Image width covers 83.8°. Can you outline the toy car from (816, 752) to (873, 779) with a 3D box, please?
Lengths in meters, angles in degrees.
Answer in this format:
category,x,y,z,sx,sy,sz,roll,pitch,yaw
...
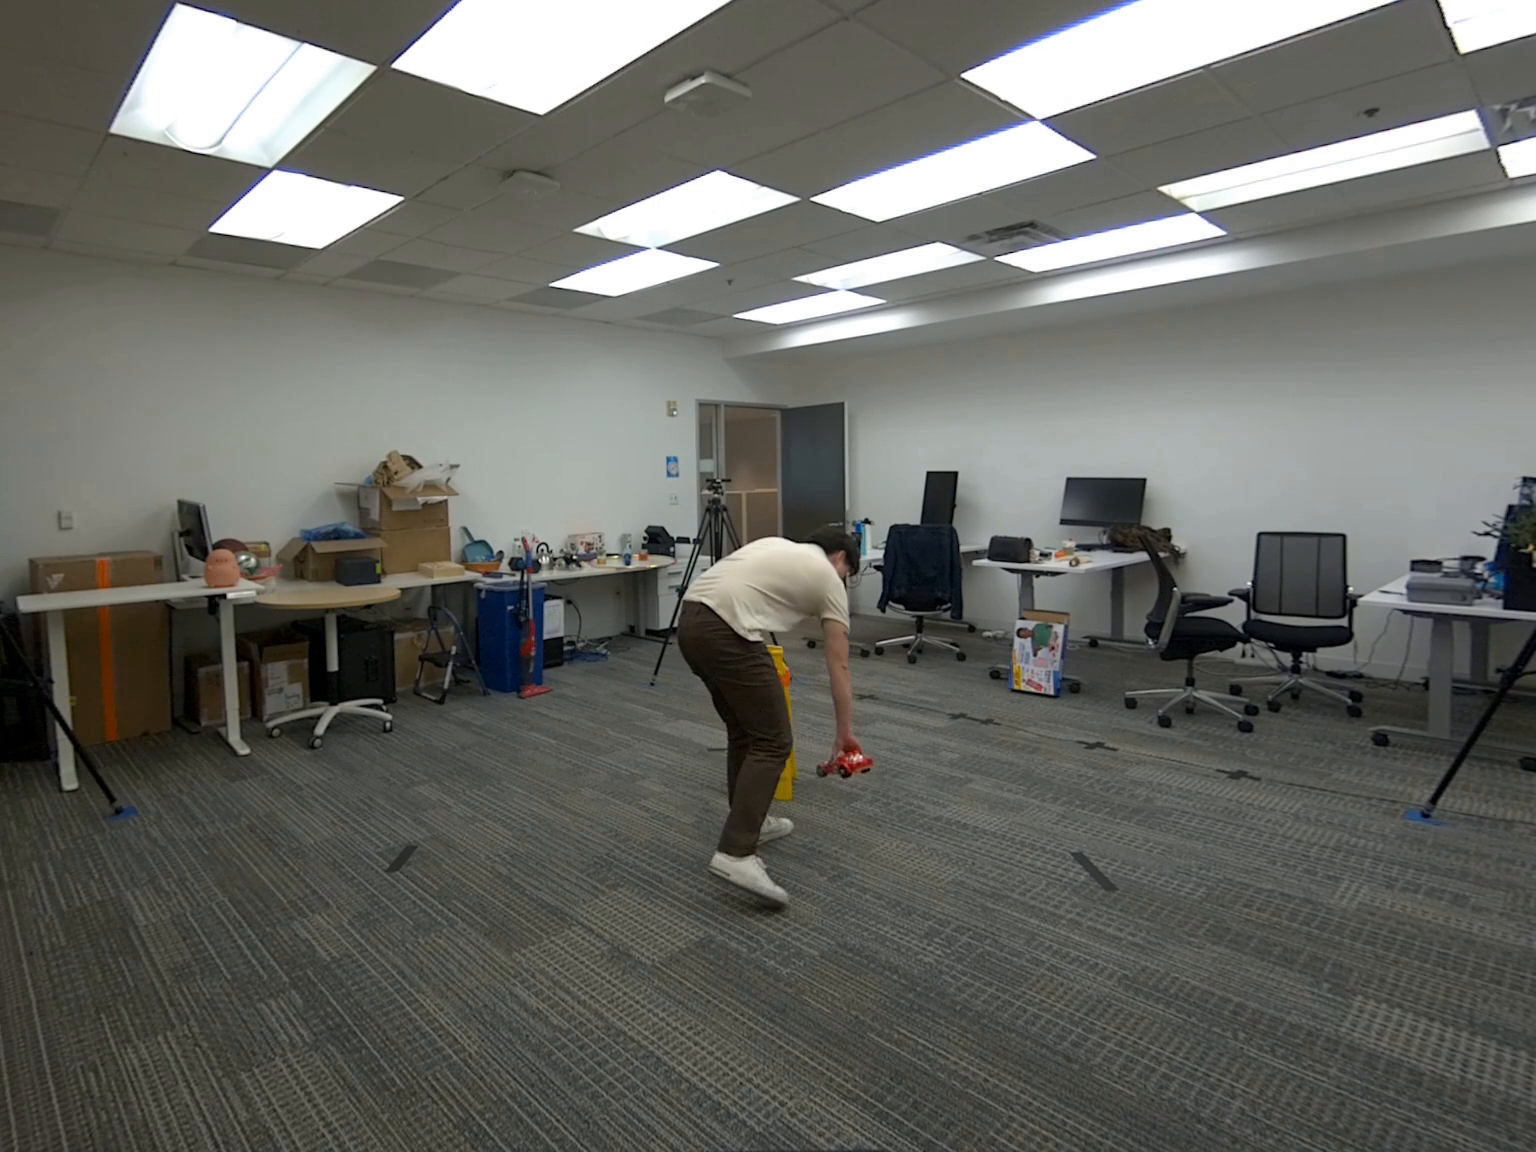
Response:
category,x,y,z,sx,sy,sz,roll,pitch,yaw
toy car,0.290,0.712,3.151,0.127,0.085,0.255,-7,-18,-29
